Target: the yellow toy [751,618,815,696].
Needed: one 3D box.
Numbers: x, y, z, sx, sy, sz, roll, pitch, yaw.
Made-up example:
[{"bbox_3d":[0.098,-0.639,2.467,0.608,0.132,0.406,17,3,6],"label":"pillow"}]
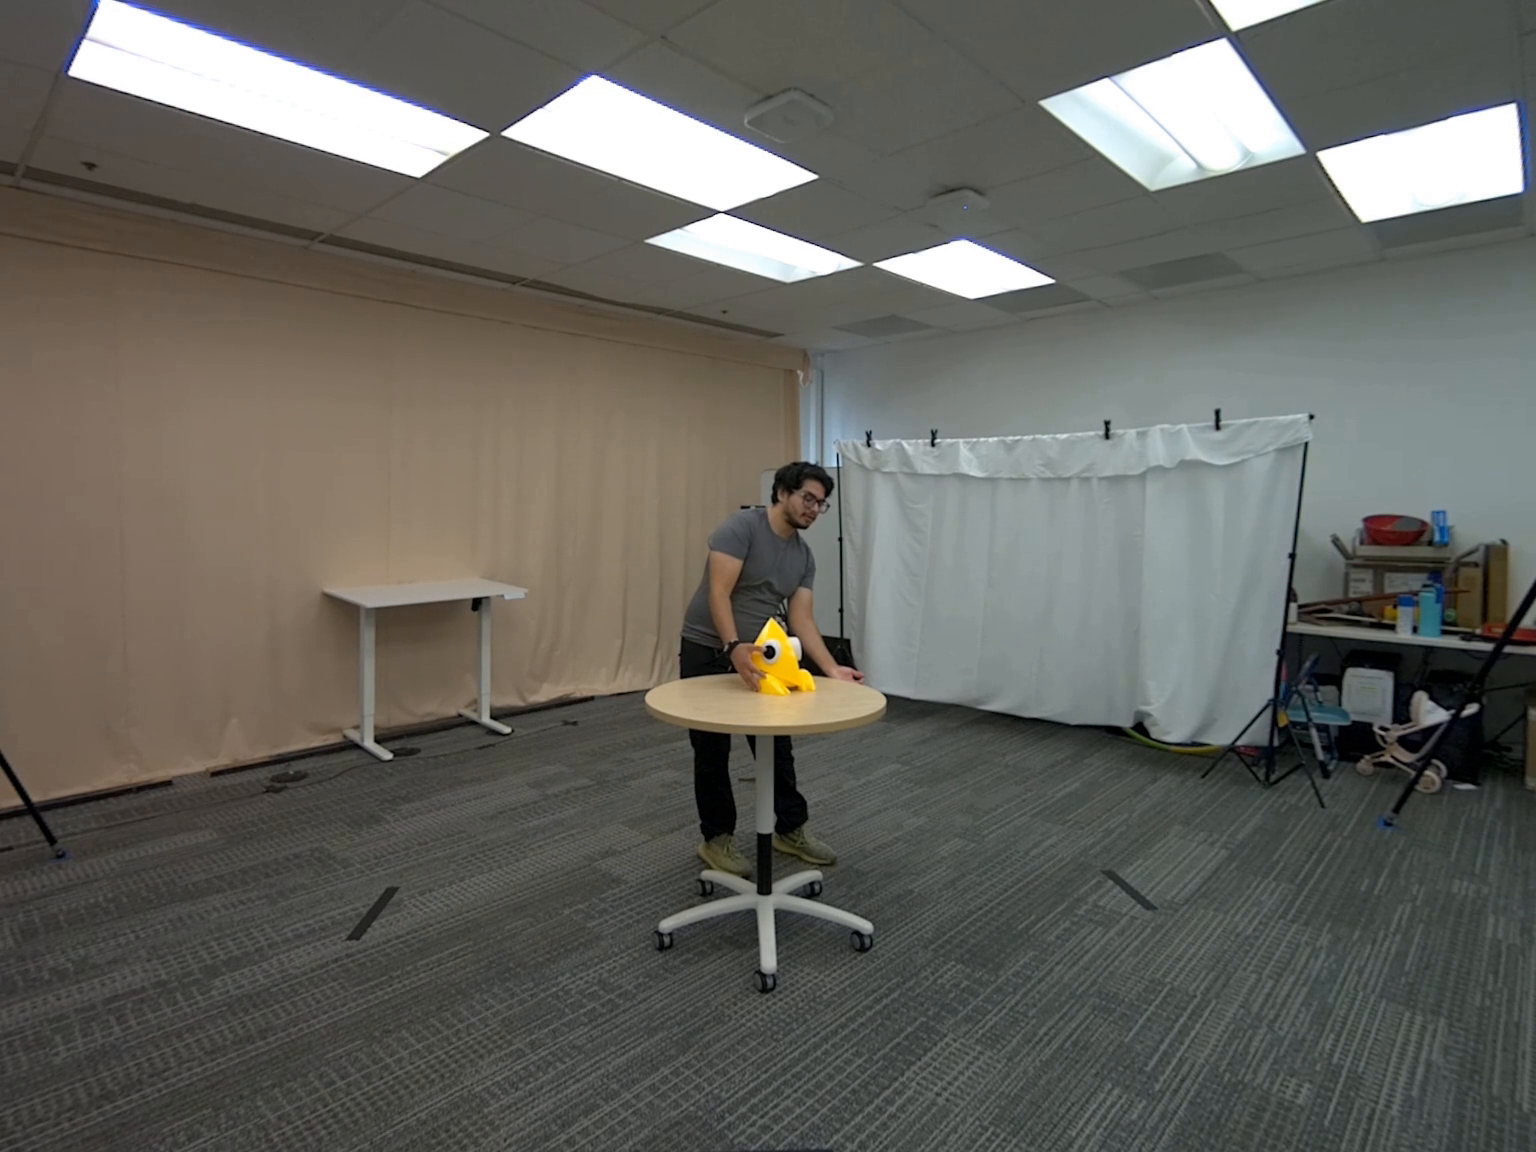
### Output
[{"bbox_3d":[0.056,0.263,2.814,0.199,0.230,0.199,-3,4,-36],"label":"yellow toy"}]
